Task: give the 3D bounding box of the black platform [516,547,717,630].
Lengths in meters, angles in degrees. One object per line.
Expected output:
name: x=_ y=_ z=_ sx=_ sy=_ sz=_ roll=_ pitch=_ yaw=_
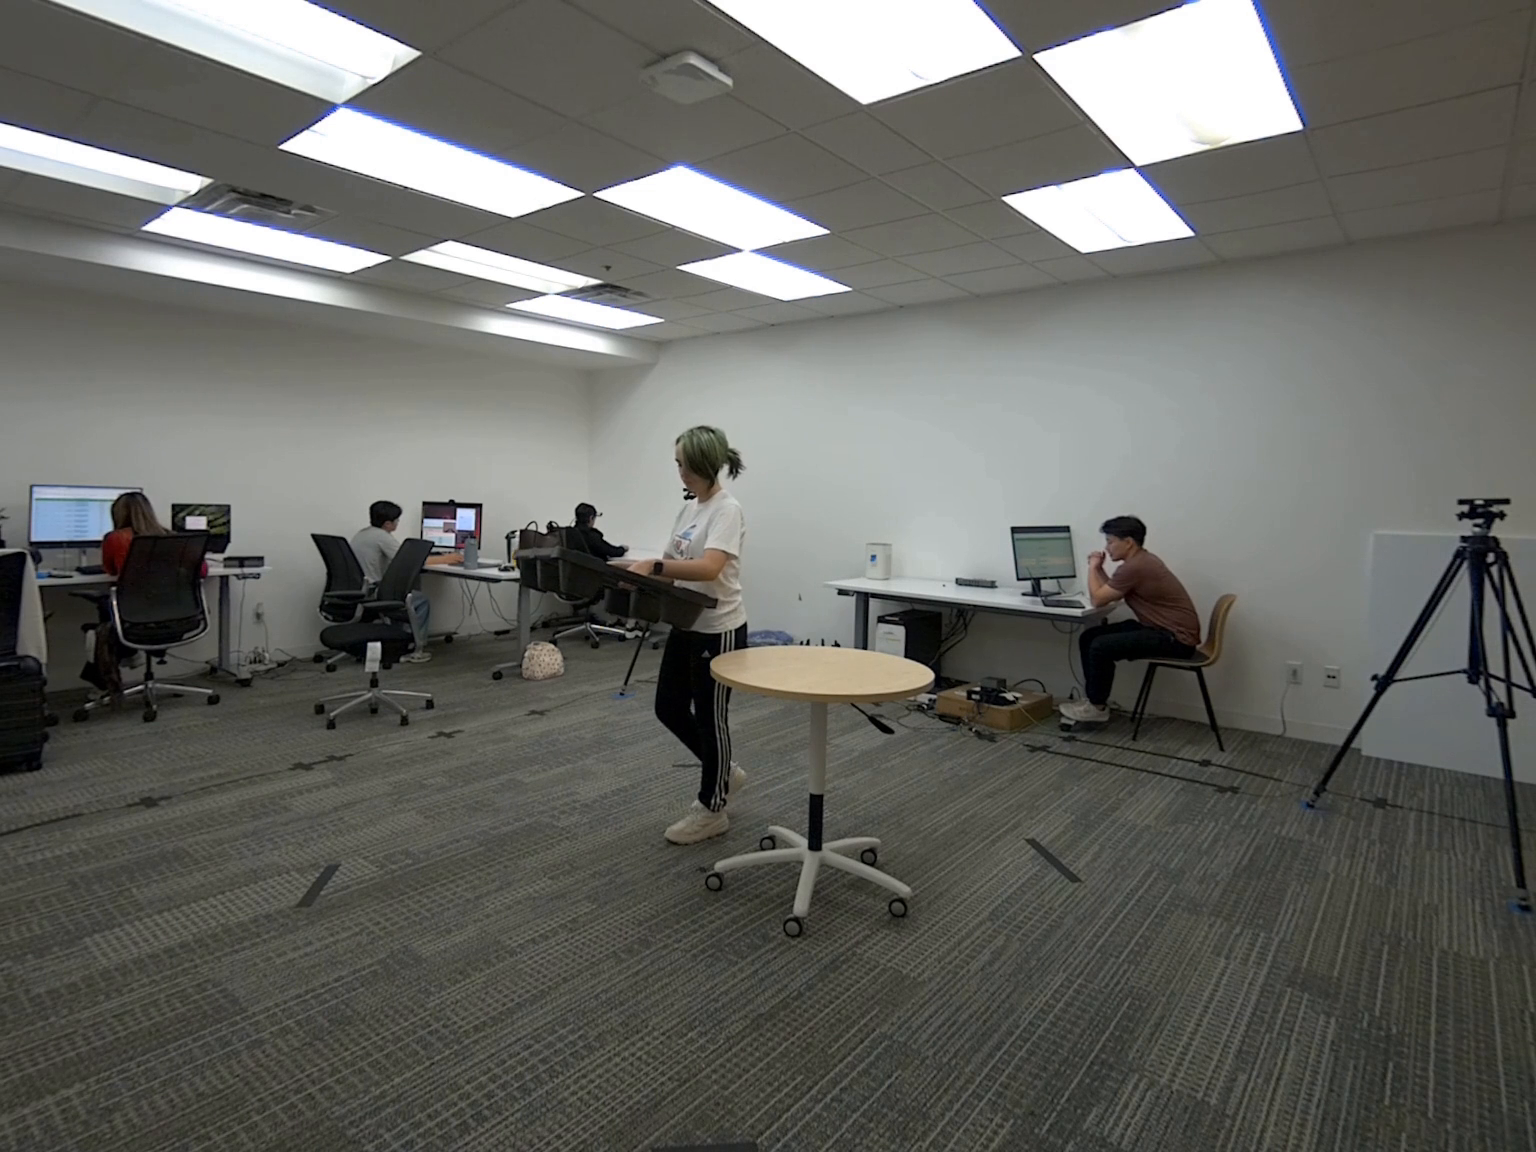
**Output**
black platform: x=-0.637 y=0.048 z=3.208 sx=0.588 sy=0.144 sz=0.824 roll=19 pitch=-9 yaw=-25
